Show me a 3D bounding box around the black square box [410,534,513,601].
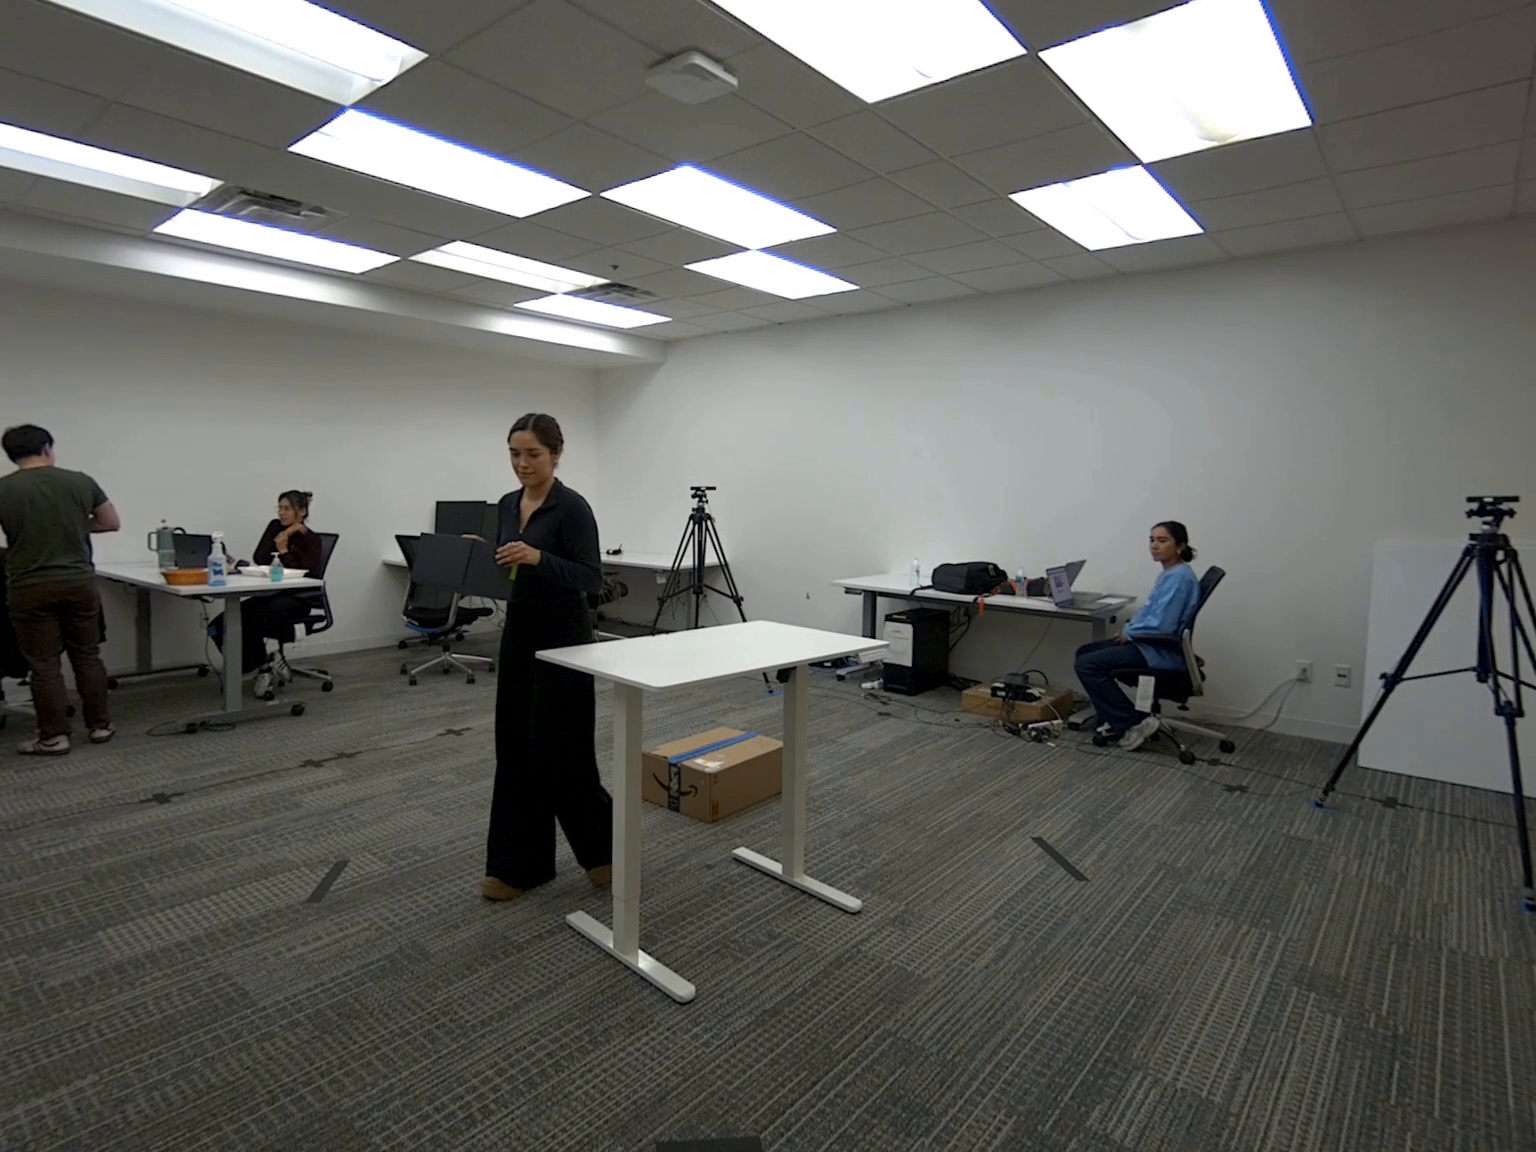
[{"bbox_3d":[-0.951,-0.026,2.645,0.234,0.157,0.209,7,-9,26],"label":"black square box"}]
